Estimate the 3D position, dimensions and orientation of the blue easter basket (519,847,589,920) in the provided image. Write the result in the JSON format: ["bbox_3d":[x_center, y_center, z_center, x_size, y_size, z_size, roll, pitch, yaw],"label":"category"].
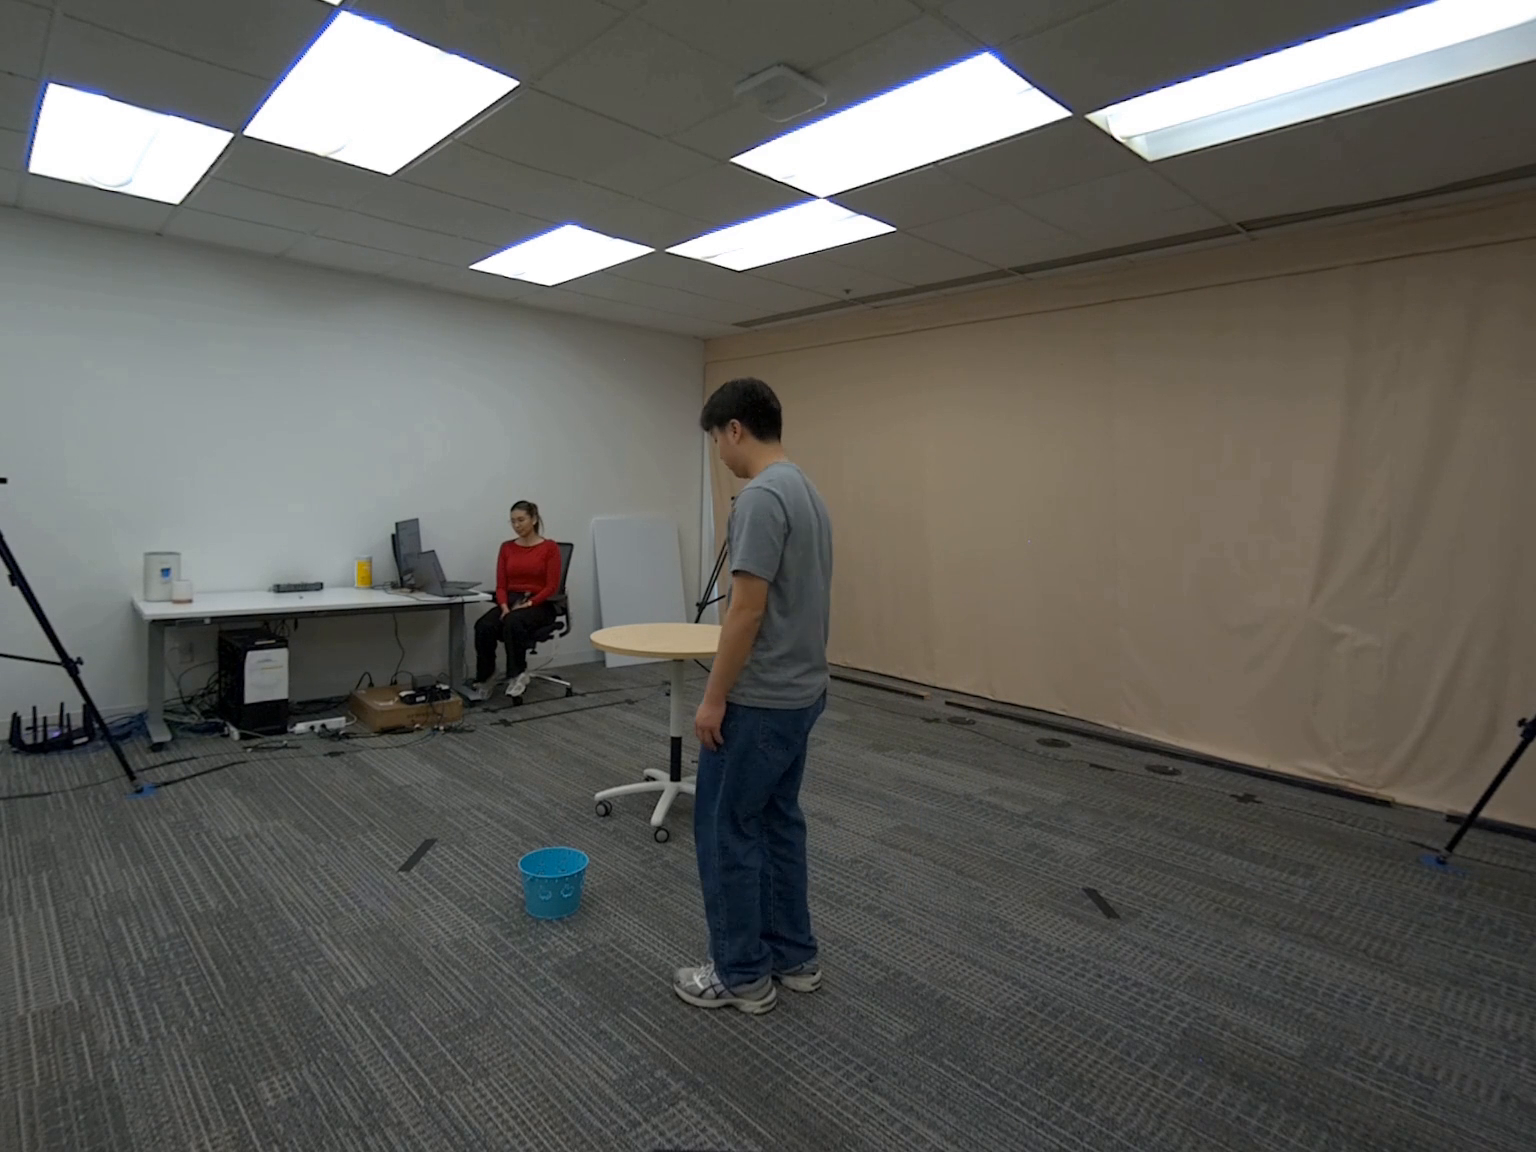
[{"bbox_3d":[-0.735,1.039,2.849,0.243,0.155,0.245,2,6,-2],"label":"blue easter basket"}]
